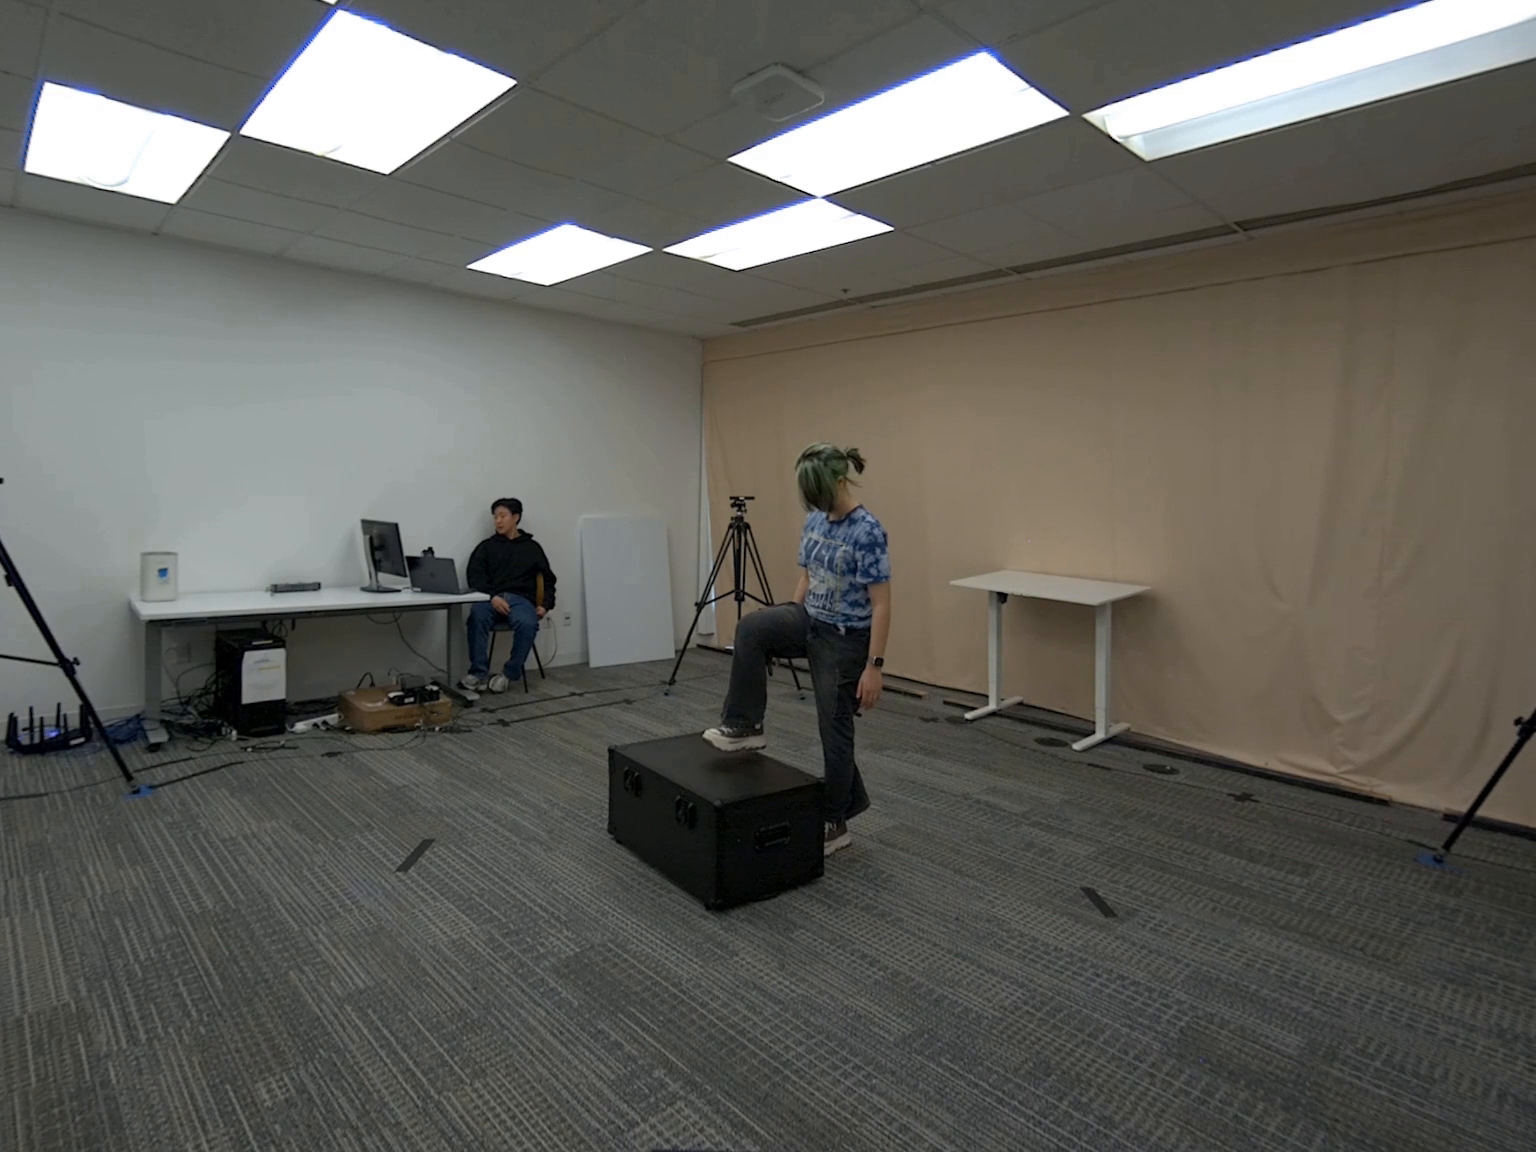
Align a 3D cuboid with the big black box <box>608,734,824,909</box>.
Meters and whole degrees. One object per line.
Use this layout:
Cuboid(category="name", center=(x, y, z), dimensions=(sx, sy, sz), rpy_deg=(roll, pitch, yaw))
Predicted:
Cuboid(category="big black box", center=(-0.243, 0.897, 3.254), dimensions=(0.510, 0.395, 0.883), rpy_deg=(-2, 6, -37))
